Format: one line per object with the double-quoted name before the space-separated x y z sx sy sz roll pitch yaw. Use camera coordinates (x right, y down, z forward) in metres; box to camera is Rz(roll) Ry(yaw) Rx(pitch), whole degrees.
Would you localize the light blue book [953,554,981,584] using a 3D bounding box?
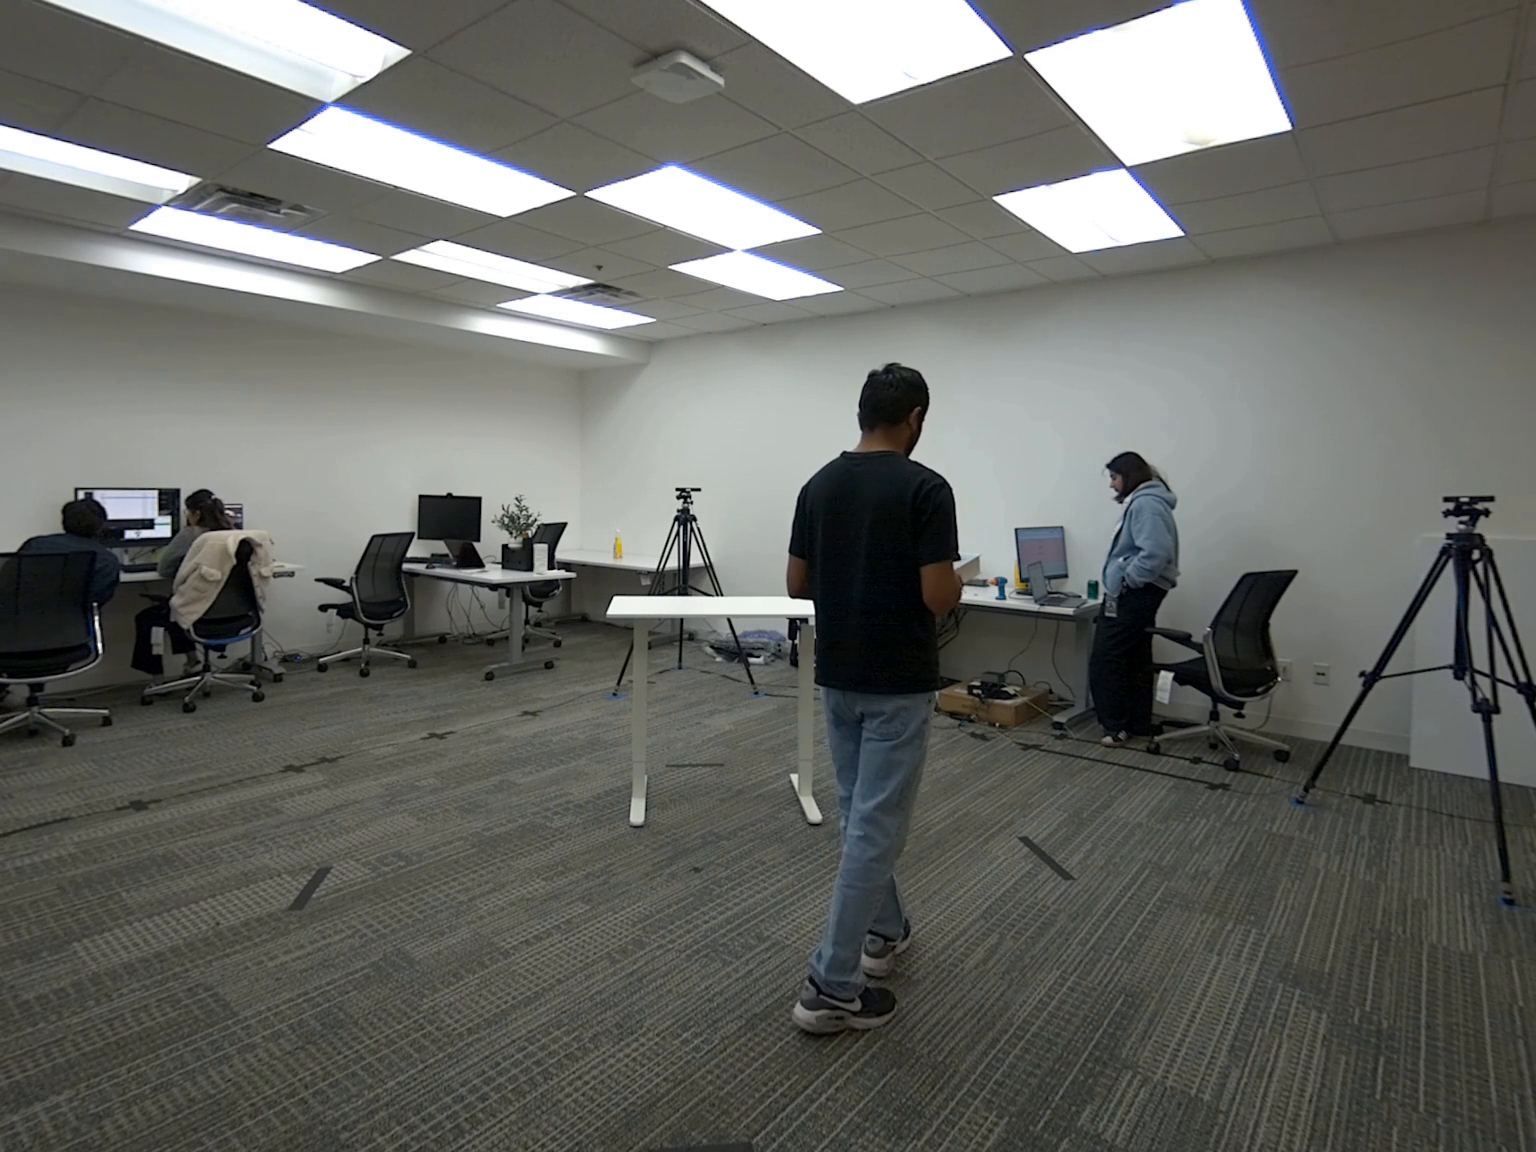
"light blue book" 0.501 -0.014 2.555 0.198 0.058 0.256 6 19 39
